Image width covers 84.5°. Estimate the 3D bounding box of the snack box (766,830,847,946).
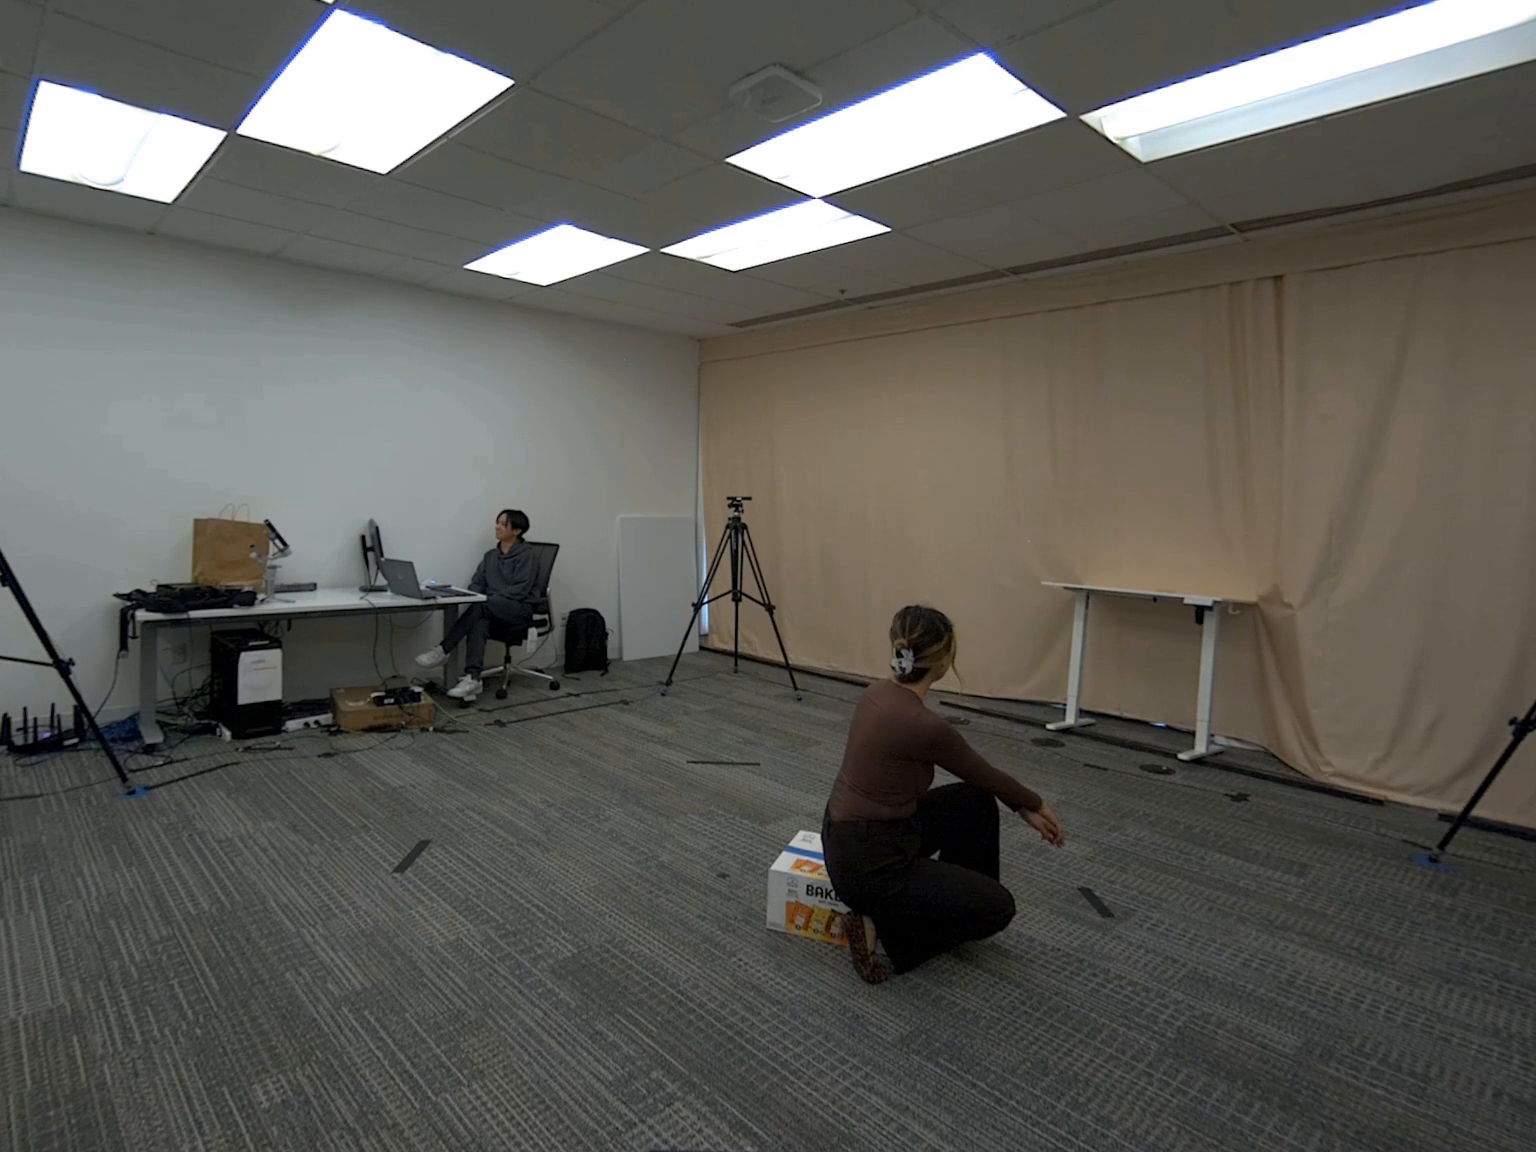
[{"bbox_3d":[0.242,1.043,2.800,0.412,0.205,0.336,4,6,20],"label":"snack box"}]
